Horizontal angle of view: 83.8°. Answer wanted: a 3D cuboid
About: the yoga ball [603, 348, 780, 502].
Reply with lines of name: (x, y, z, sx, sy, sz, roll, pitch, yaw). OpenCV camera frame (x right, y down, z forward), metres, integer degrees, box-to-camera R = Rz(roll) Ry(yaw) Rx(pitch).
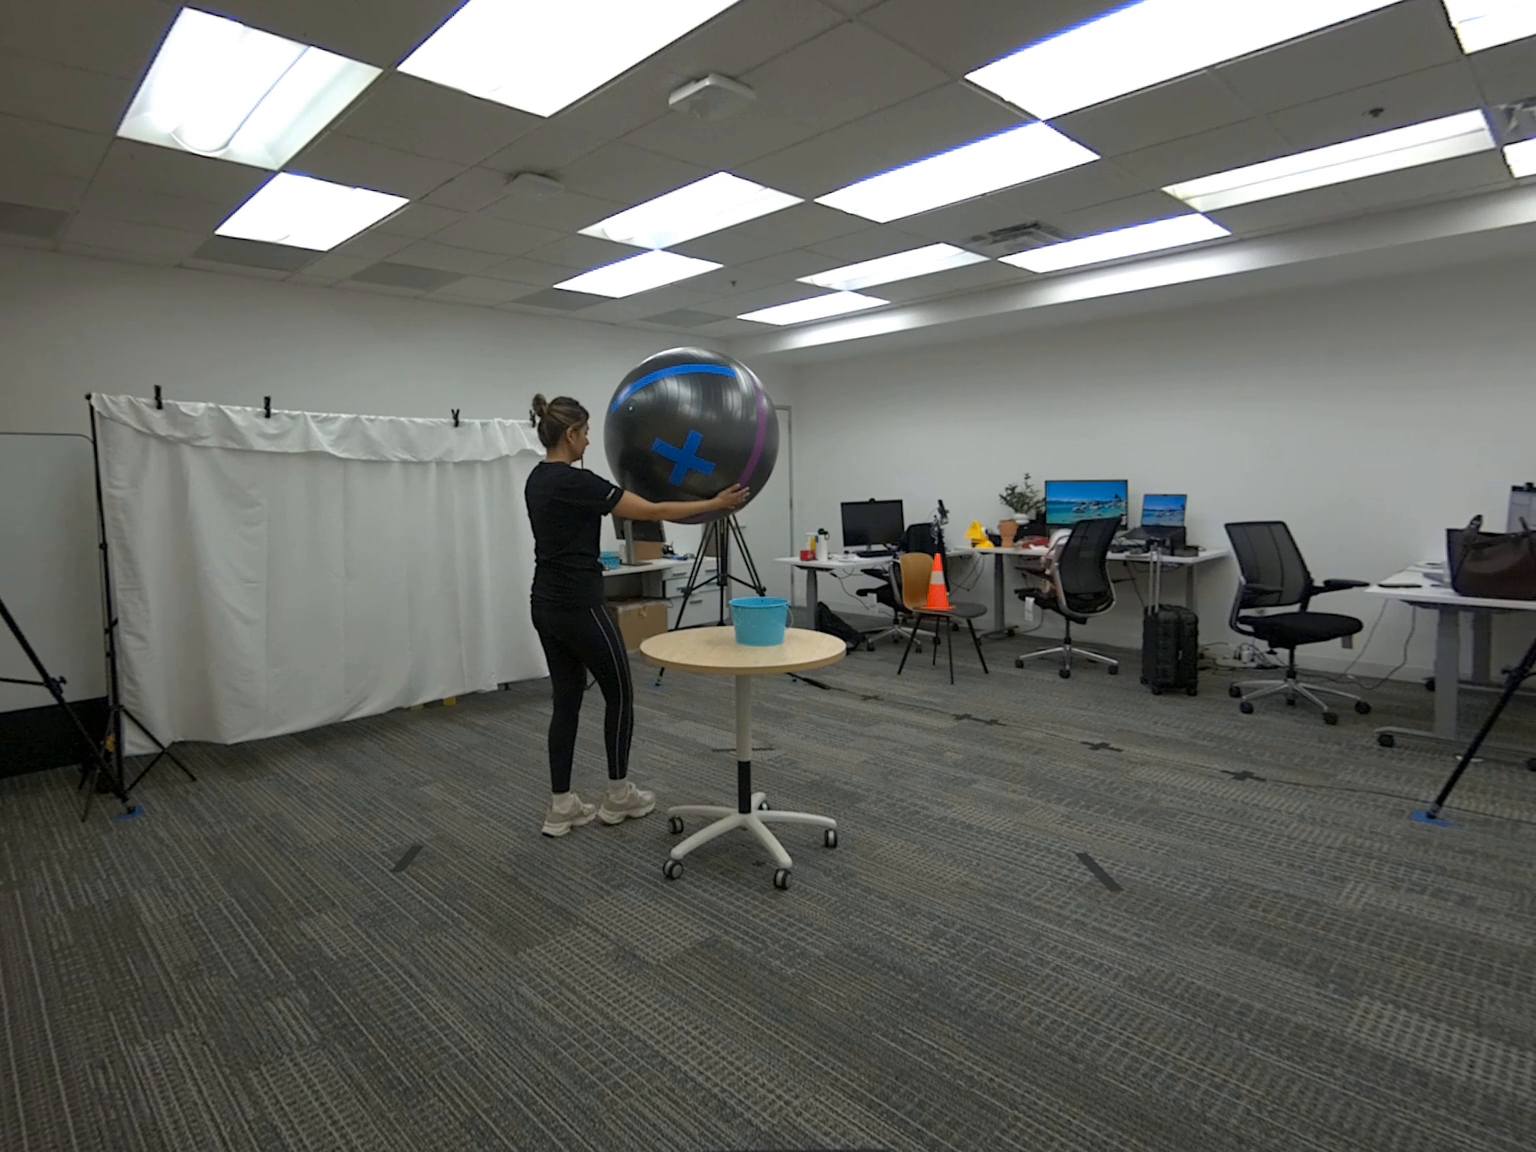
yoga ball: (-0.327, -0.596, 3.691, 0.757, 0.755, 0.762, -1, 5, -2)
